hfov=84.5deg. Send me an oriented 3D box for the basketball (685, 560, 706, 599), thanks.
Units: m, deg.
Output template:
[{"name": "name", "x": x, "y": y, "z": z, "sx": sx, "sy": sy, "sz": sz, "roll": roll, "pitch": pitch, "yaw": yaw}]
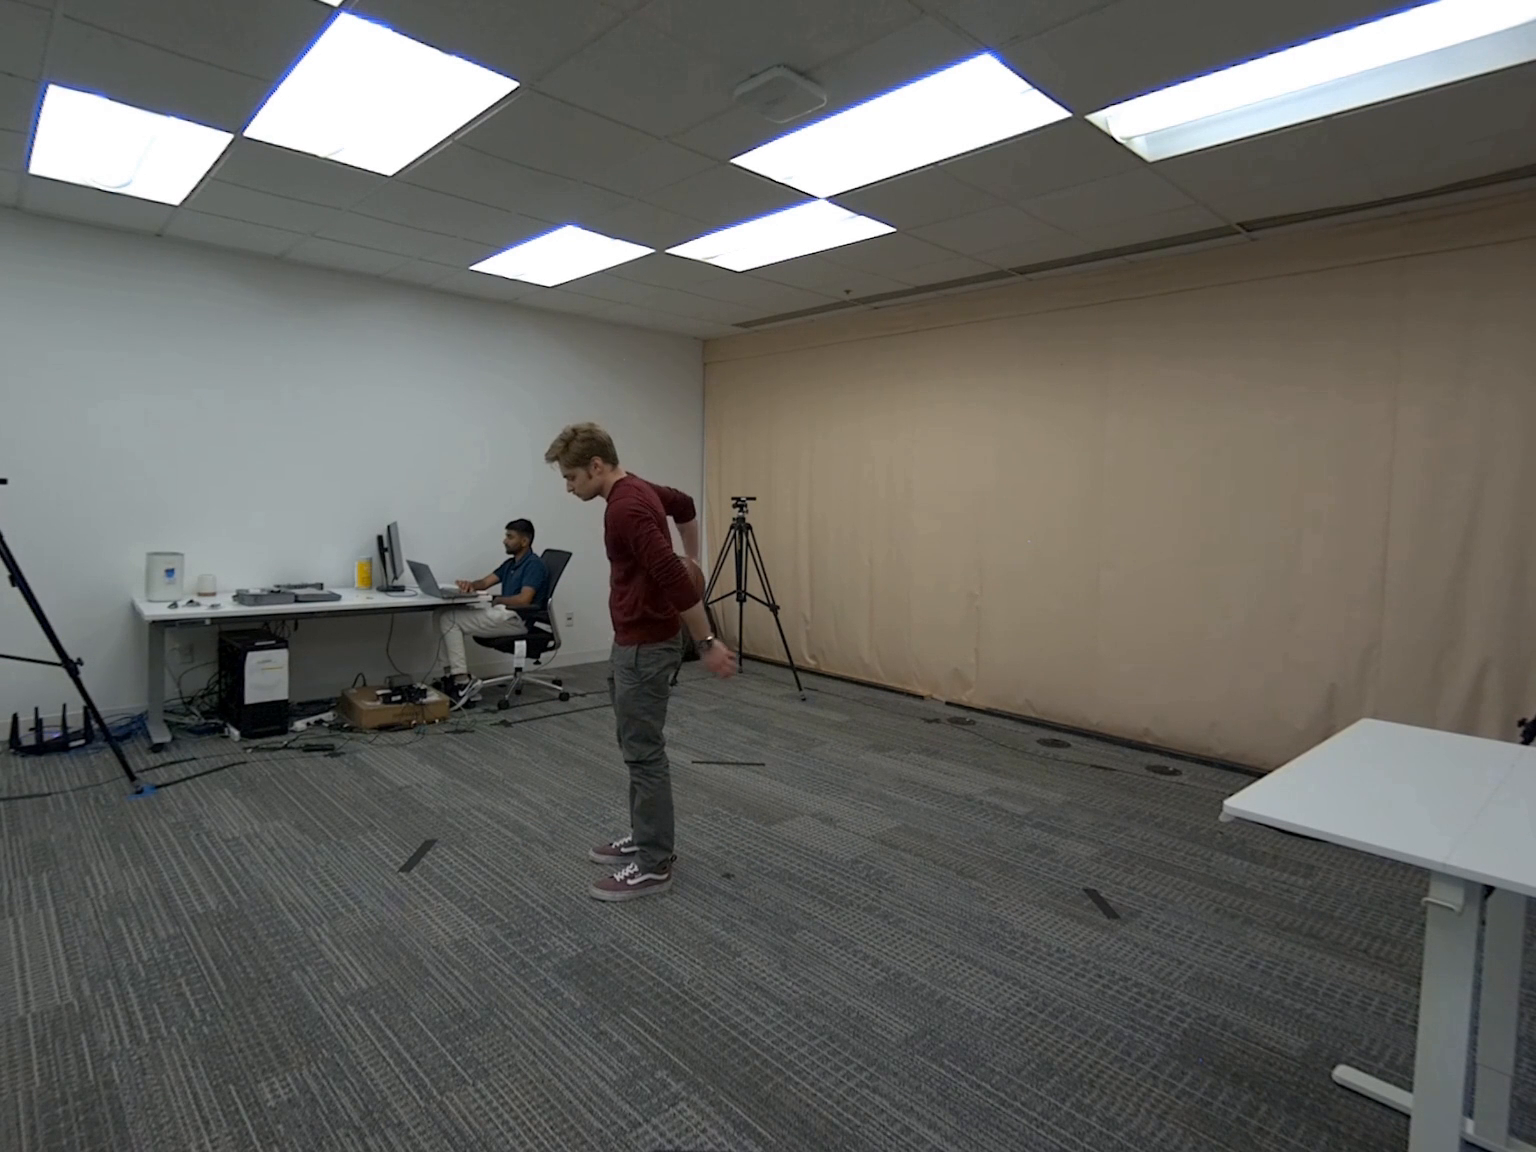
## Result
[{"name": "basketball", "x": -0.366, "y": 0.039, "z": 3.258, "sx": 0.236, "sy": 0.235, "sz": 0.237, "roll": 1, "pitch": 4, "yaw": -1}]
